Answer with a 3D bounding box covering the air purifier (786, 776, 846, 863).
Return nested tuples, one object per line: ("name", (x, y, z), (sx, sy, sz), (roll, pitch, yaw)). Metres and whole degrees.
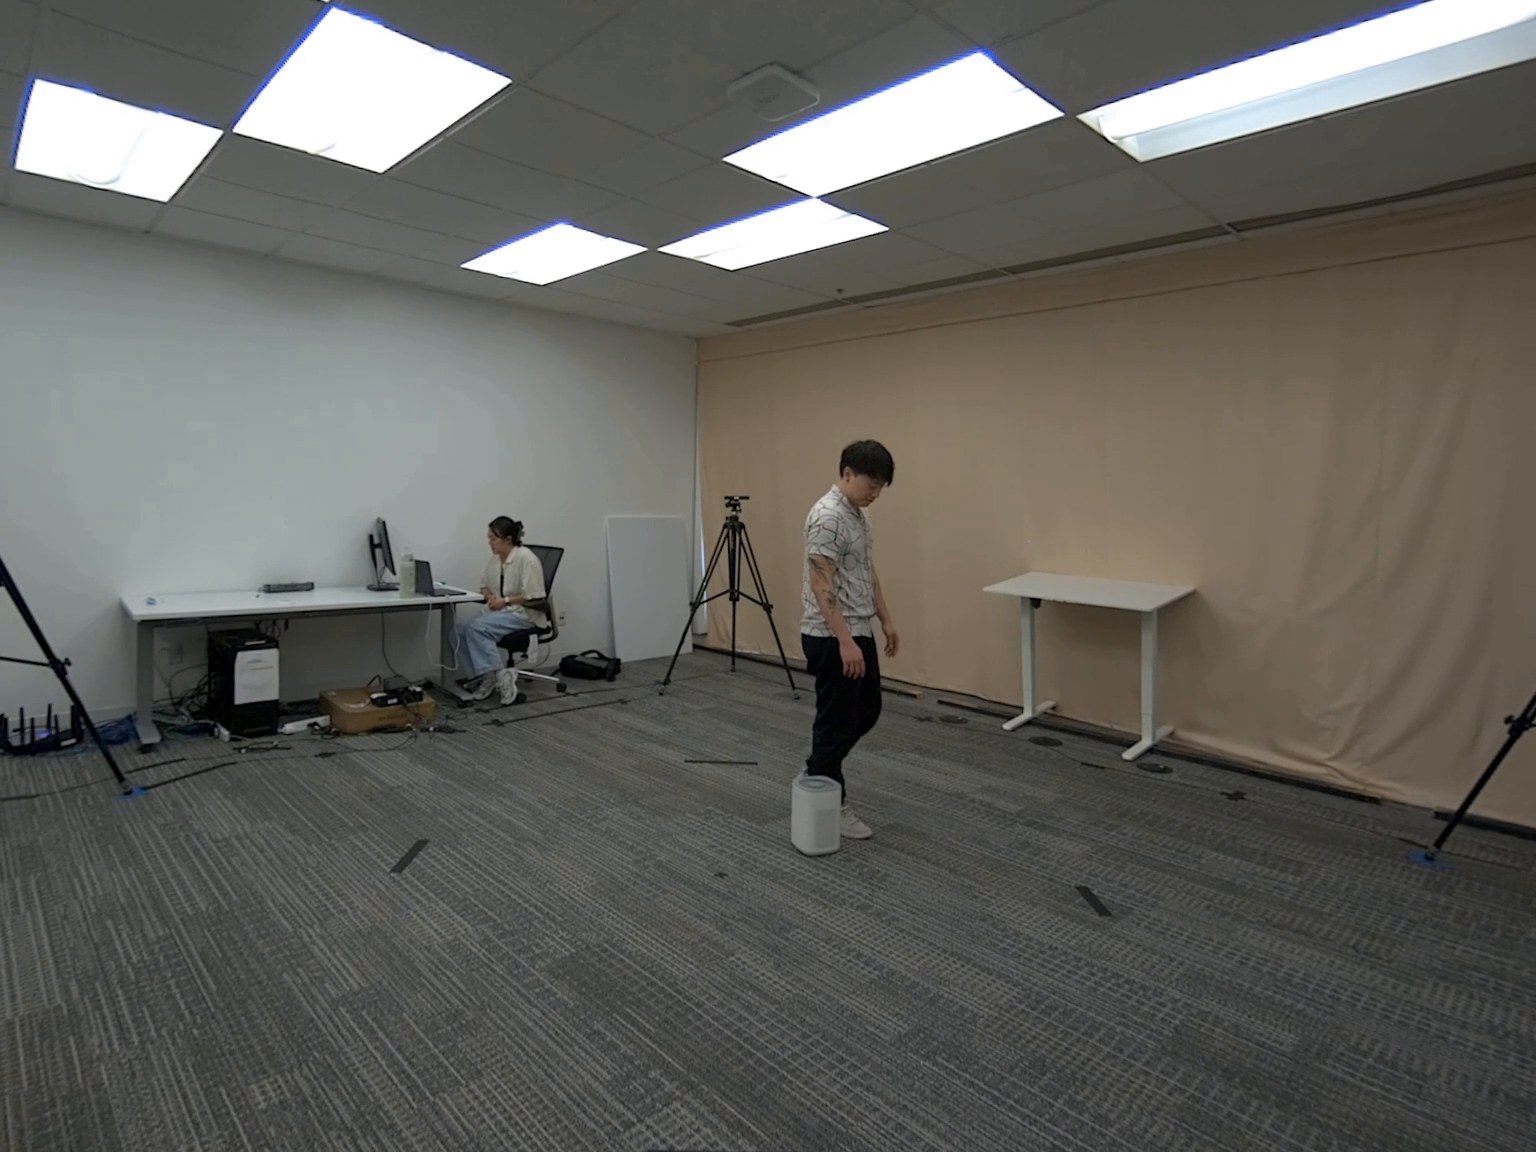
("air purifier", (0.186, 0.956, 3.356), (0.168, 0.265, 0.175), (-1, 3, -24))
